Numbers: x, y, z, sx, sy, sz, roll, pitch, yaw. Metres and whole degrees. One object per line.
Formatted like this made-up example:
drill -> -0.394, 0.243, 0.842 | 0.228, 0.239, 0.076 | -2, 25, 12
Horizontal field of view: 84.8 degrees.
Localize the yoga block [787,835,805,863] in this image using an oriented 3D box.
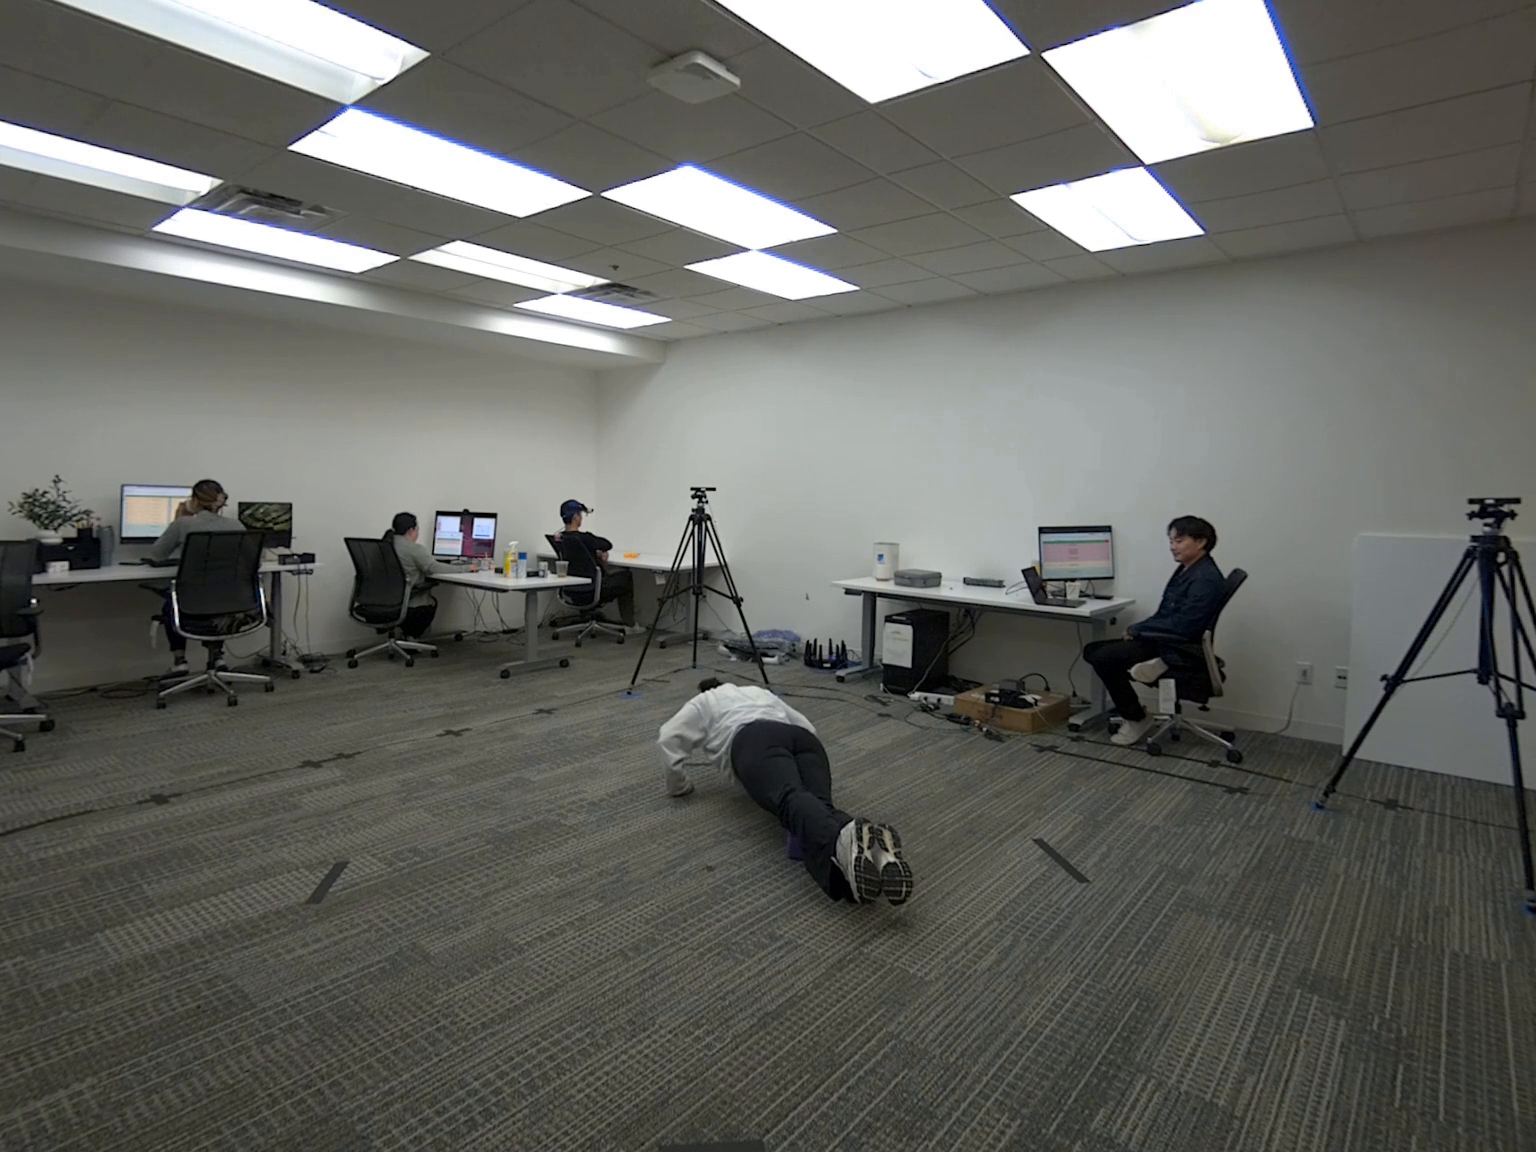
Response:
yoga block -> 0.182, 1.011, 3.254 | 0.231, 0.076, 0.149 | -1, 6, 6
